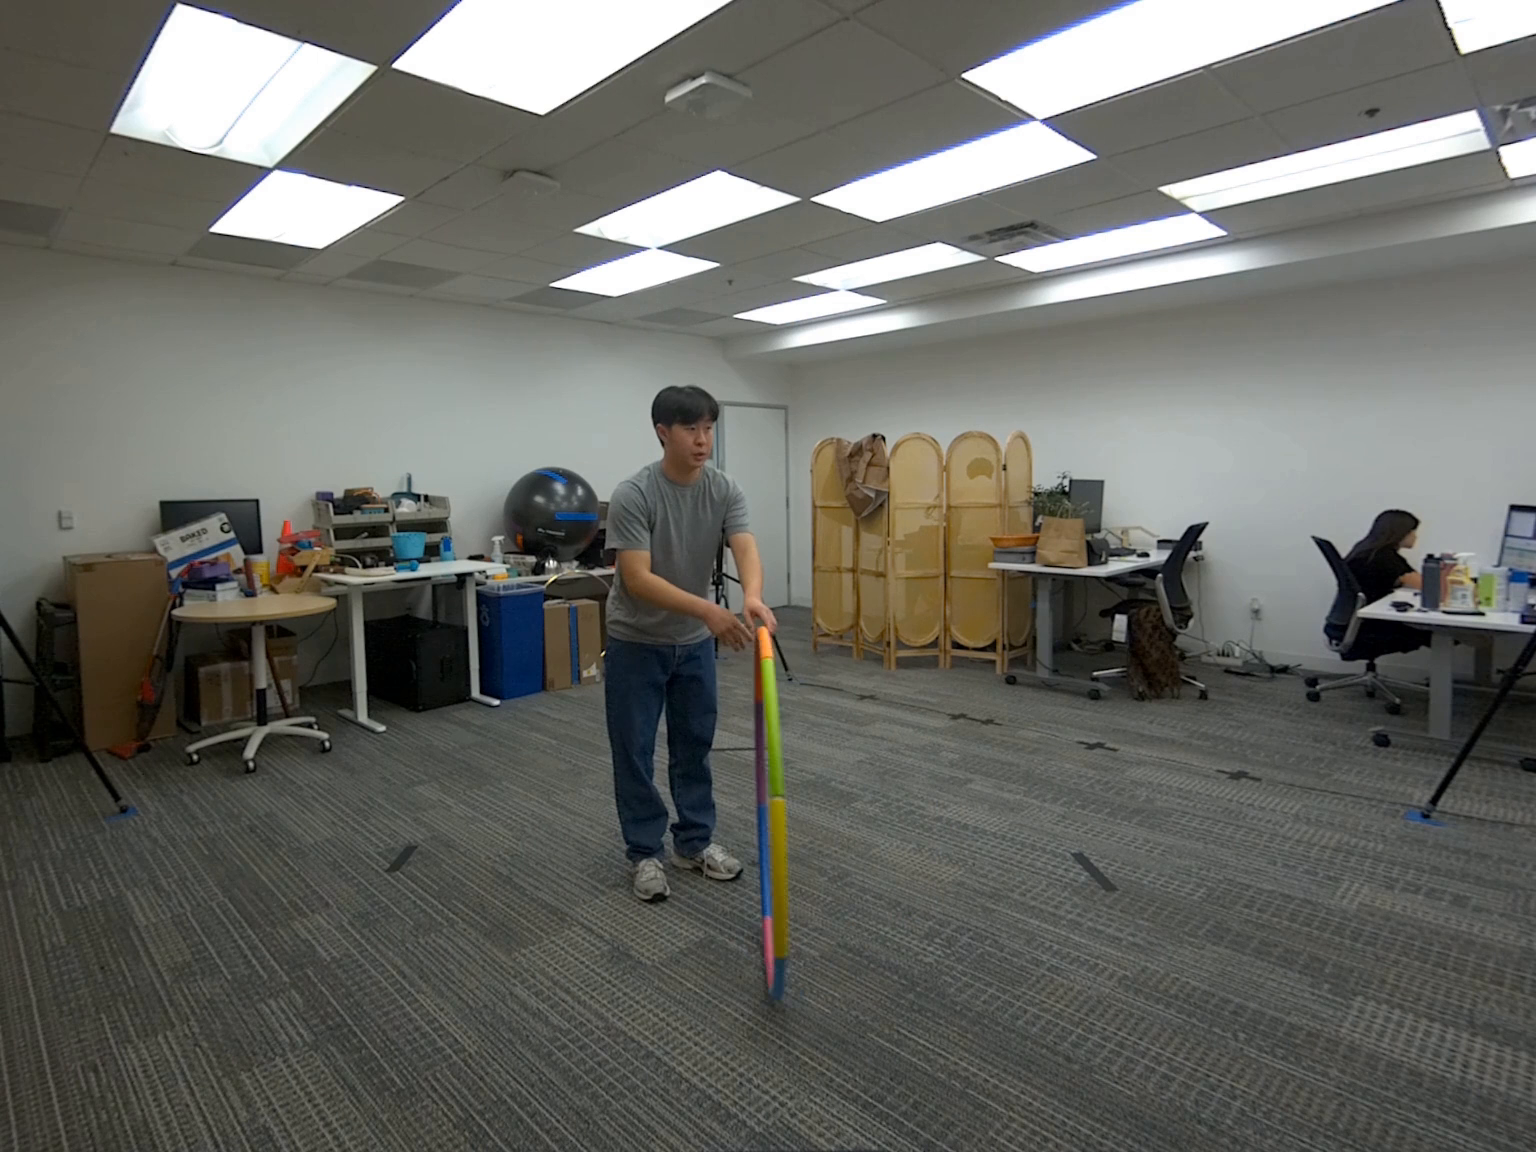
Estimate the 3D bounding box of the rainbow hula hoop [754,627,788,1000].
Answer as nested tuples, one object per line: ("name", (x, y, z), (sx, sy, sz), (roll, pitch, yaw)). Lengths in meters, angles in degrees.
("rainbow hula hoop", (-0.003, 0.641, 2.405), (0.035, 0.975, 0.985), (-2, 5, -4))
